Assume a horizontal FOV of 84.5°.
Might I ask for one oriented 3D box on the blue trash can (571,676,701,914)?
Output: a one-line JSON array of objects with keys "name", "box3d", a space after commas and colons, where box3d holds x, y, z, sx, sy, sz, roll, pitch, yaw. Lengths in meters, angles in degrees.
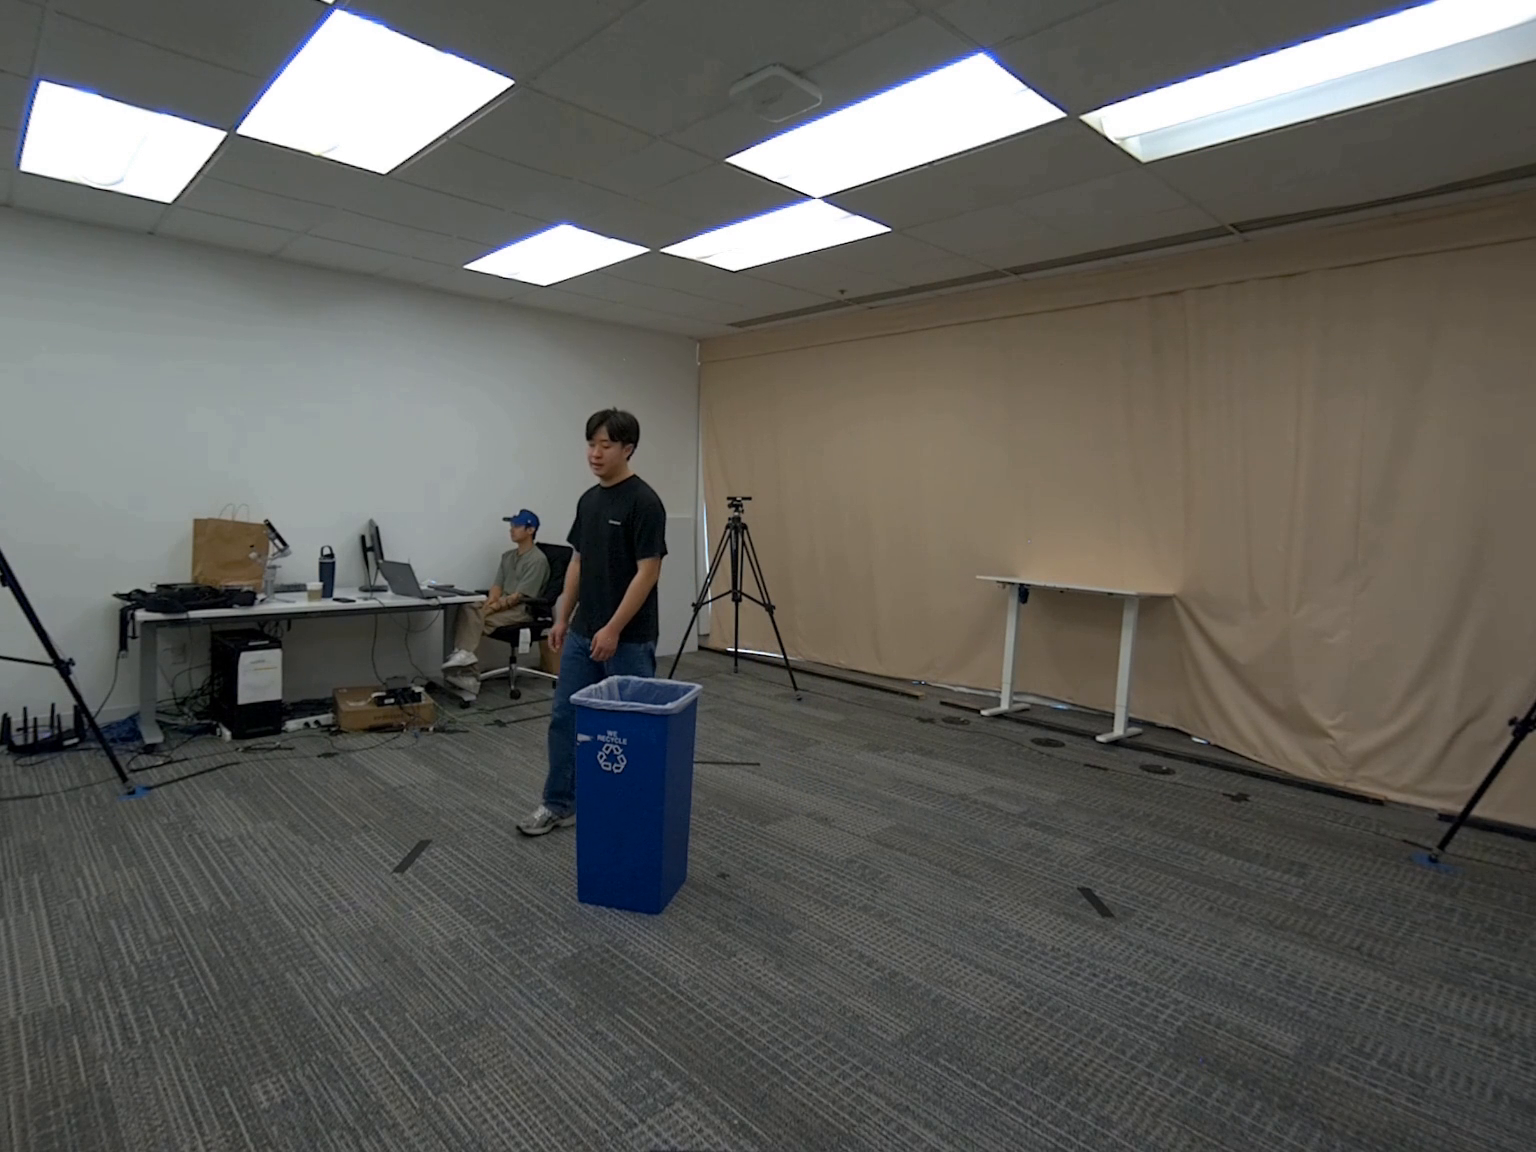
[{"name": "blue trash can", "box3d": [-0.473, 0.754, 2.956, 0.379, 0.712, 0.374, 4, 4, 15]}]
